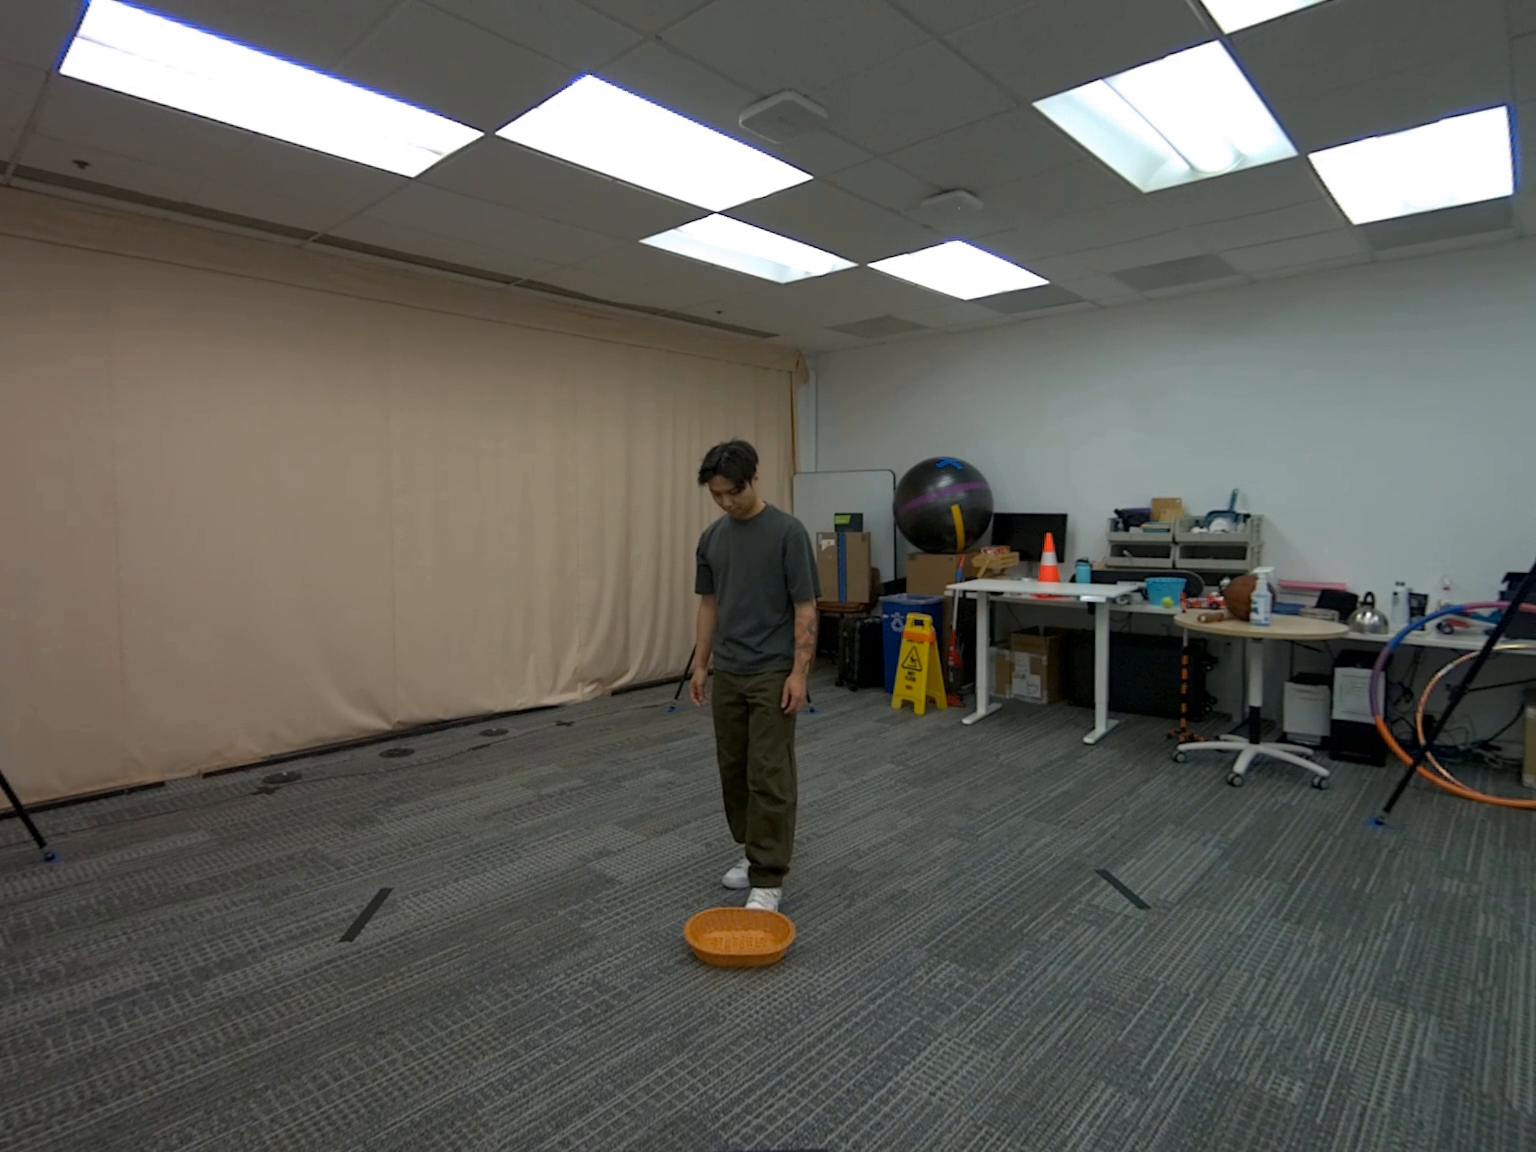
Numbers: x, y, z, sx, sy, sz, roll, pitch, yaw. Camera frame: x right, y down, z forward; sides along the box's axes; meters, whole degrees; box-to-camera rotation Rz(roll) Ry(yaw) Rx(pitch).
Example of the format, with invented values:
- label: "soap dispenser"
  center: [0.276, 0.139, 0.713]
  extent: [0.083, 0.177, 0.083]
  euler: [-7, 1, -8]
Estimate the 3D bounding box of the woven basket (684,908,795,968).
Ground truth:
- label: "woven basket"
  center: [-0.086, 1.128, 2.622]
  extent: [0.351, 0.073, 0.253]
  euler: [1, 8, 1]
